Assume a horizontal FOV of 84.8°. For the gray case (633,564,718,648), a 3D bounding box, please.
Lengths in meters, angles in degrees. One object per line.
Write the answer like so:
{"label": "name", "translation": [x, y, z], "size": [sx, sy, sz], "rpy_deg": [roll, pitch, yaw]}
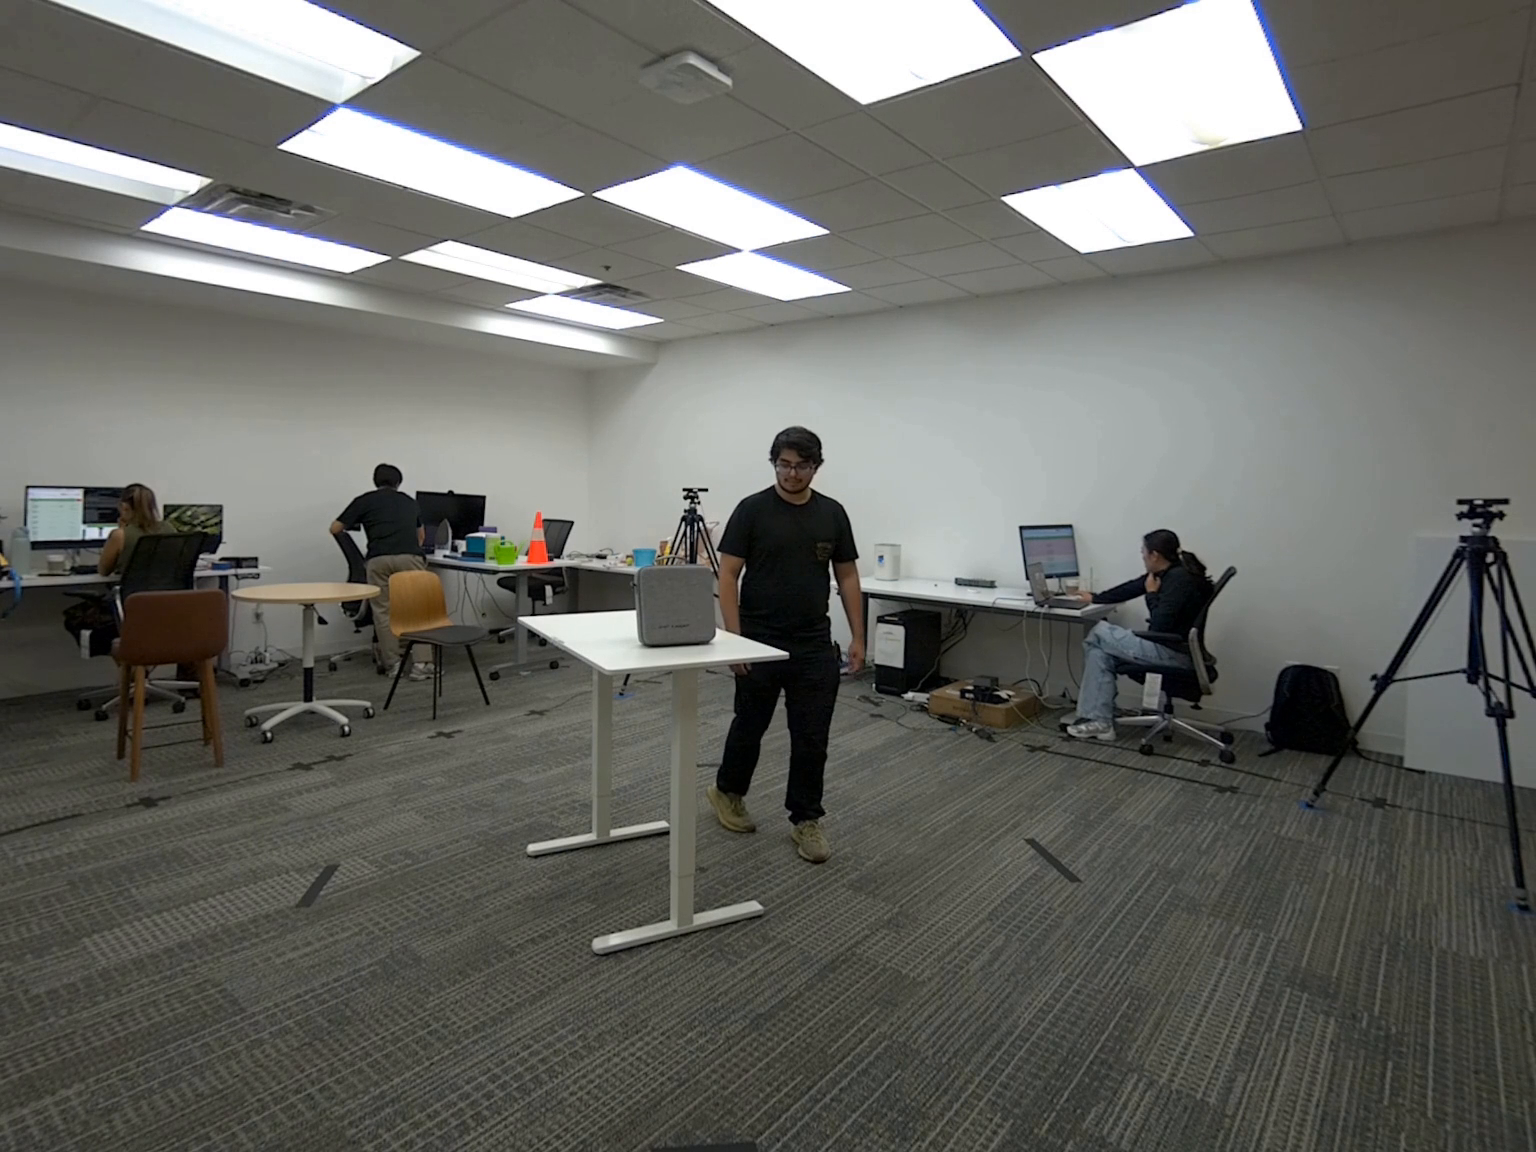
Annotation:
{"label": "gray case", "translation": [-0.310, 0.091, 2.780], "size": [0.251, 0.262, 0.106], "rpy_deg": [-2, -5, -22]}
